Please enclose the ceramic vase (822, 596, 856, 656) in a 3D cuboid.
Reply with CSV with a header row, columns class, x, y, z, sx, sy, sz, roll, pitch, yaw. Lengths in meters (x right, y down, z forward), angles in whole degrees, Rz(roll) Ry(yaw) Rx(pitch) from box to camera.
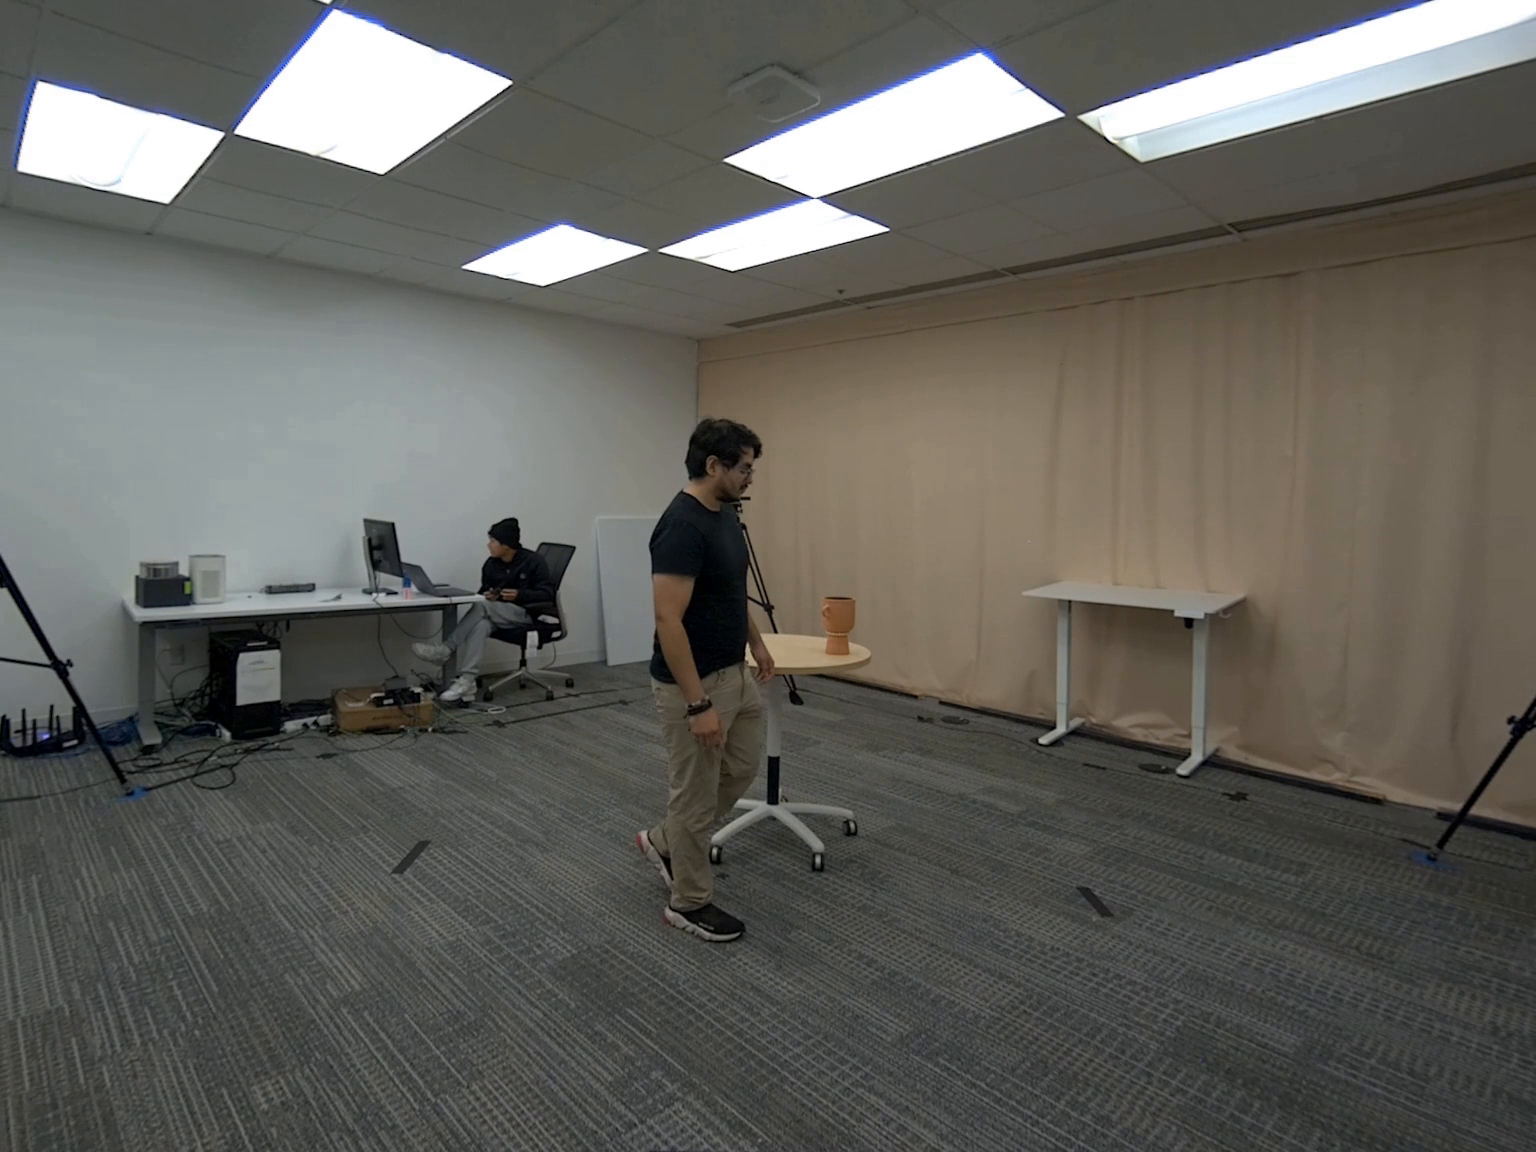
class,x,y,z,sx,sy,sz,roll,pitch,yaw
ceramic vase,0.276,0.201,3.376,0.158,0.219,0.135,1,2,-7
